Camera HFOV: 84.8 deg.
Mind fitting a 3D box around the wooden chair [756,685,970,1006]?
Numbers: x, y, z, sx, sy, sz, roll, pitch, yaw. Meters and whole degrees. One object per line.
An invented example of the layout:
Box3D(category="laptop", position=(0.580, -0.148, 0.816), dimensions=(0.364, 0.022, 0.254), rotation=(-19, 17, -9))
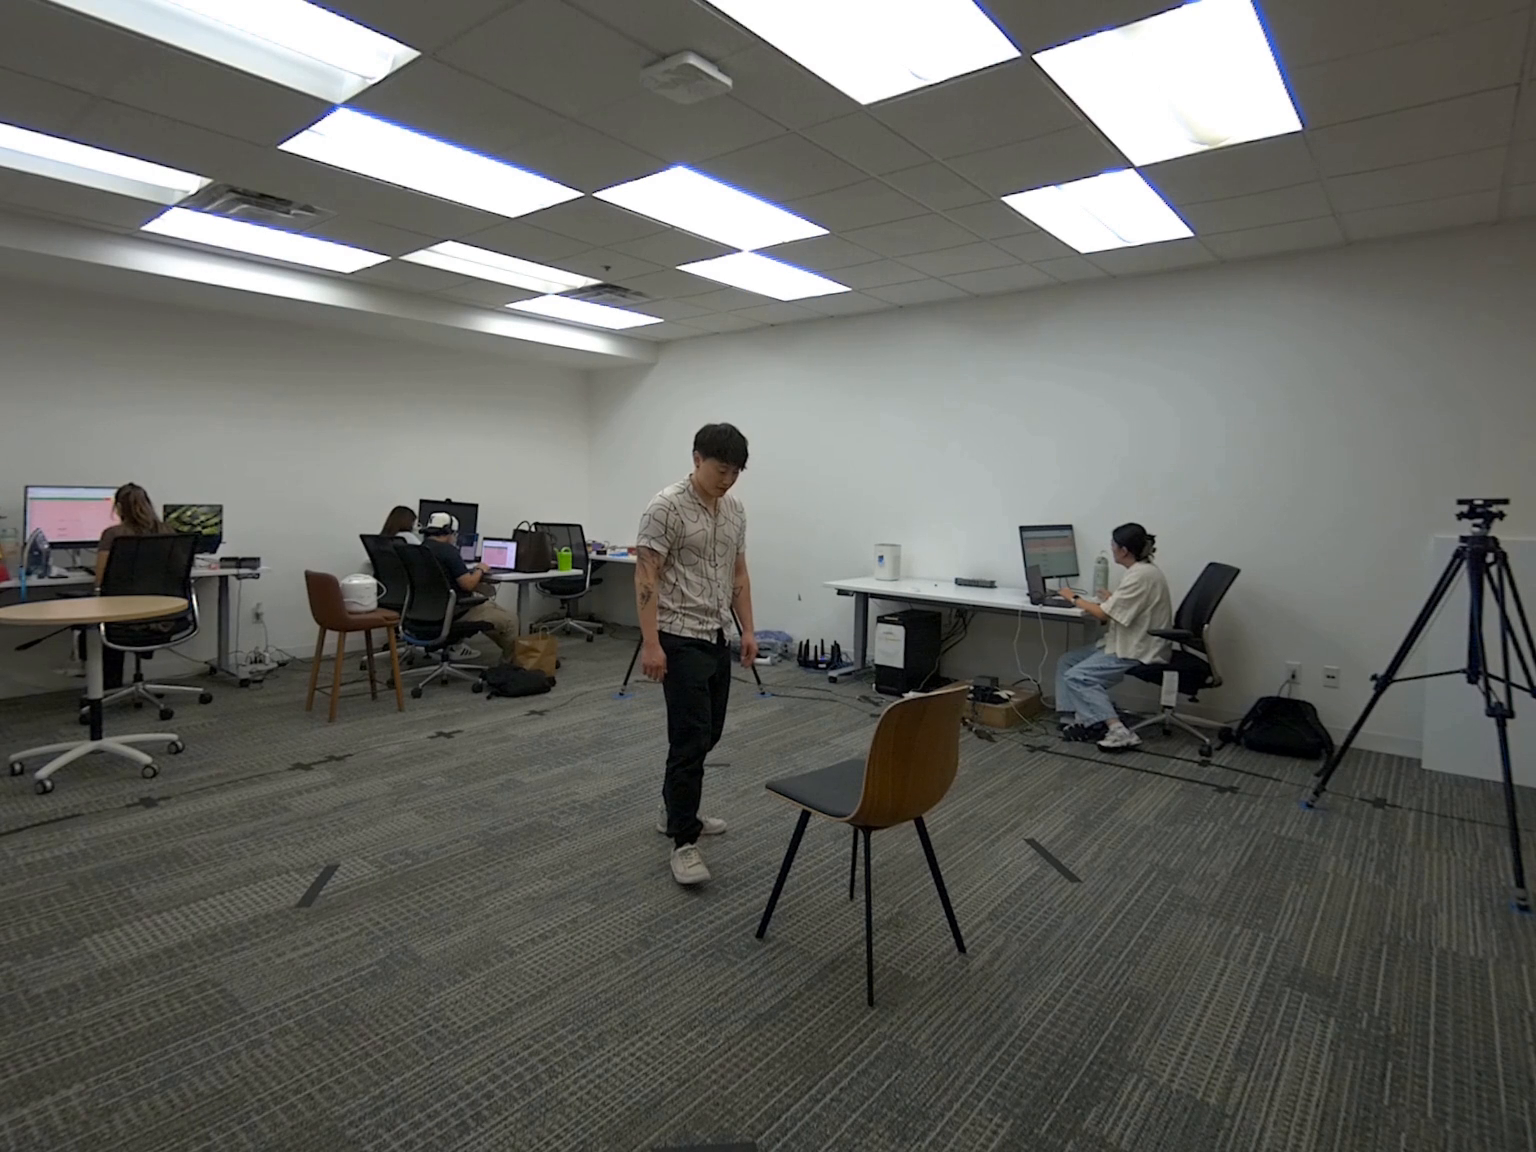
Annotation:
Box3D(category="wooden chair", position=(0.280, 0.704, 2.586), dimensions=(0.463, 0.872, 0.542), rotation=(-2, 9, -43))
